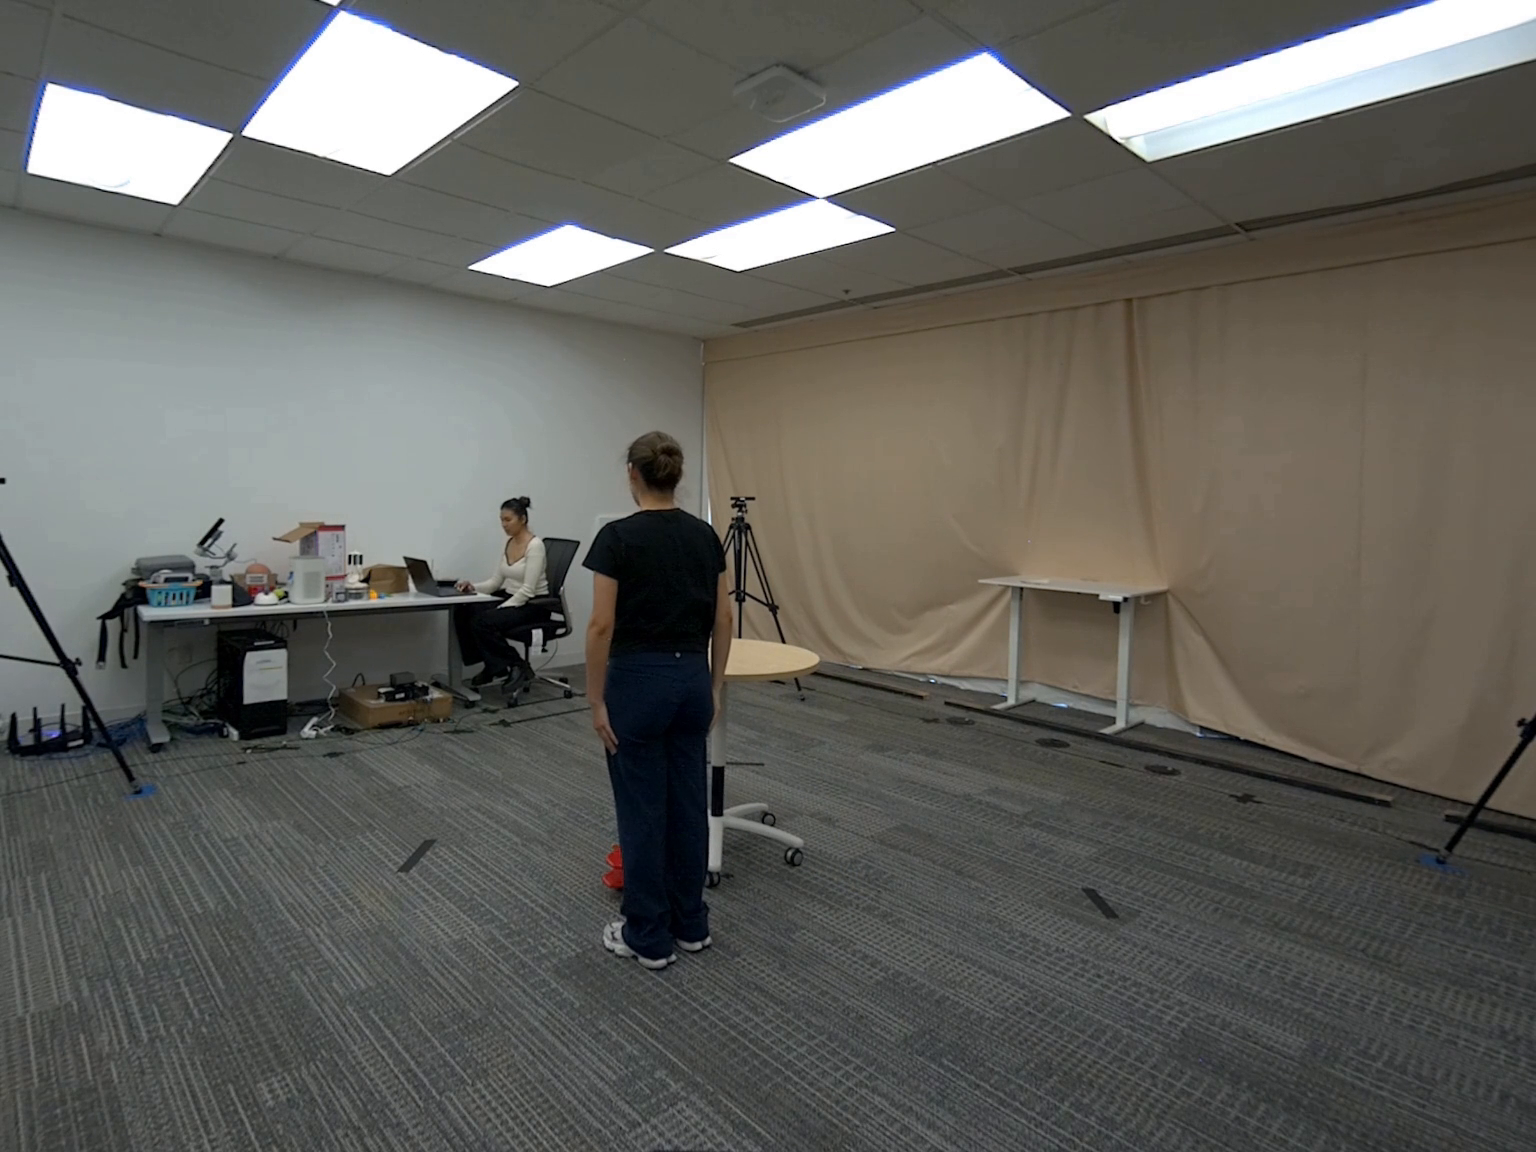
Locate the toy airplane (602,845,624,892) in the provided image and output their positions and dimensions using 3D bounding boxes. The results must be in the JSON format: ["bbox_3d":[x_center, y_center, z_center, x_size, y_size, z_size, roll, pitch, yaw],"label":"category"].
[{"bbox_3d":[-0.432,1.045,2.943,0.263,0.156,0.248,2,4,16],"label":"toy airplane"}]
